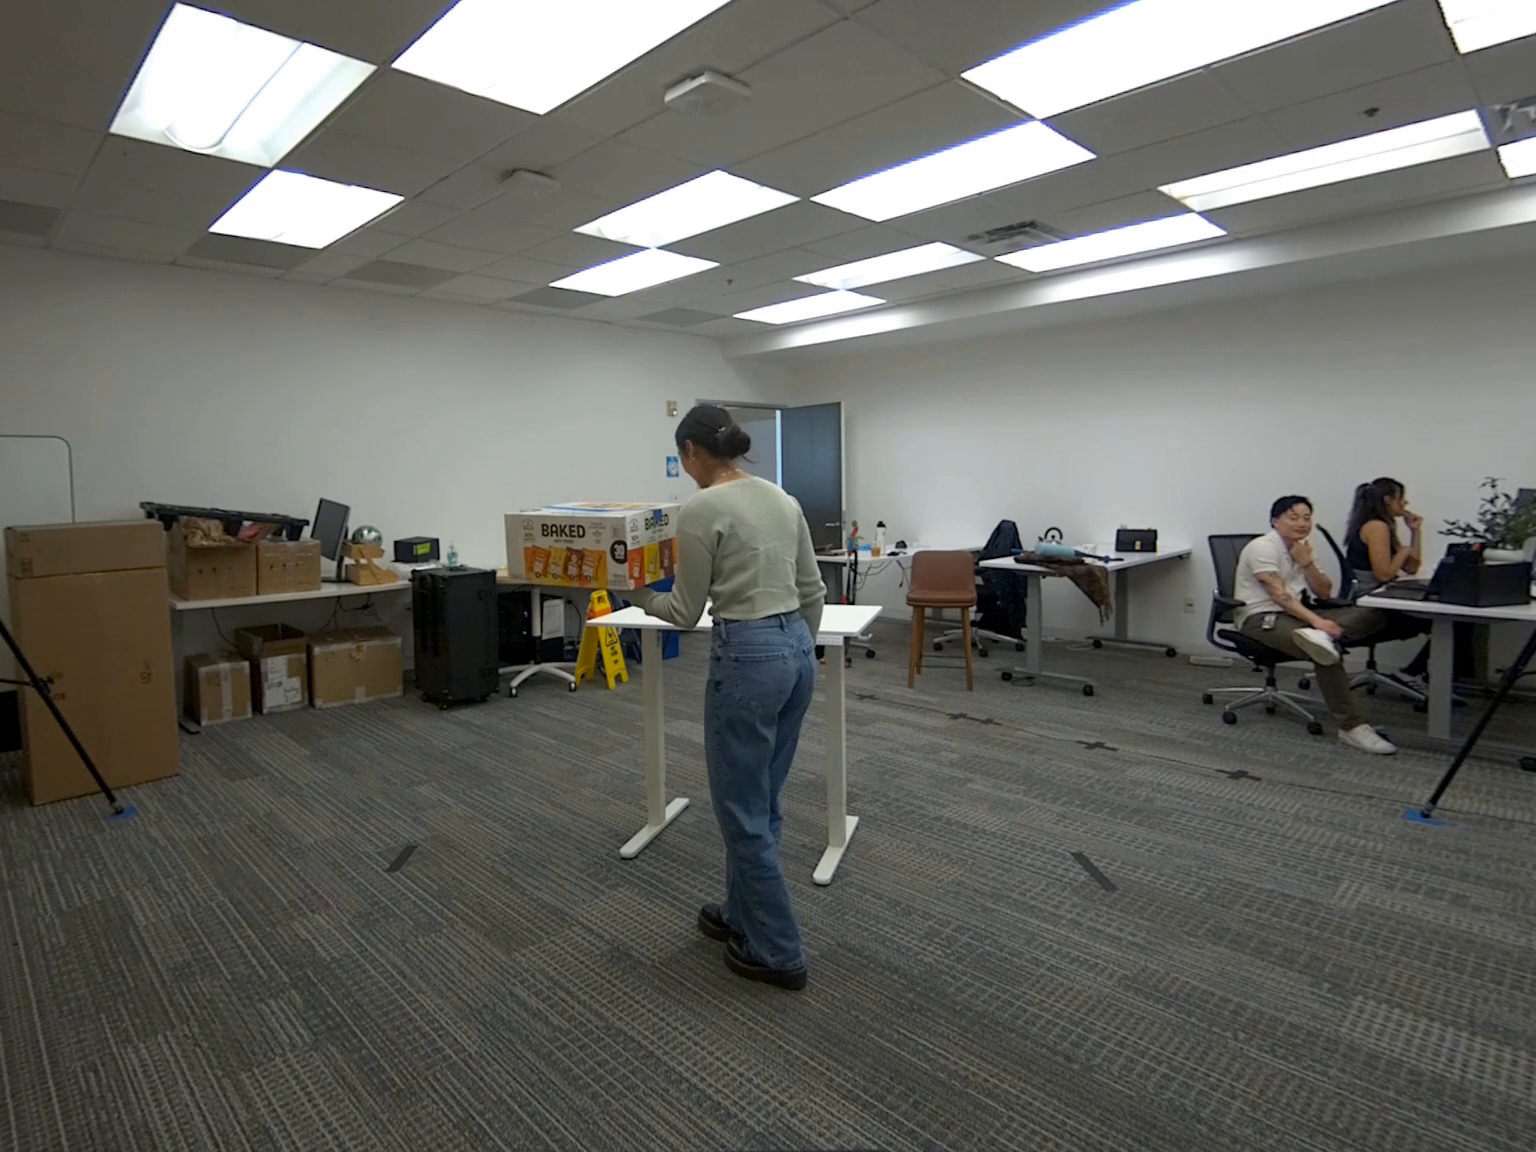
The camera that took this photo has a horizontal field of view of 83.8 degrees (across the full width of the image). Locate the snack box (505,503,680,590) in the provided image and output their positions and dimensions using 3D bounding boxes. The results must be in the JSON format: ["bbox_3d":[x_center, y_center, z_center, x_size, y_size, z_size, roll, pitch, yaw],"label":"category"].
[{"bbox_3d":[-0.494,-0.098,2.505,0.414,0.204,0.335,3,10,24],"label":"snack box"}]
